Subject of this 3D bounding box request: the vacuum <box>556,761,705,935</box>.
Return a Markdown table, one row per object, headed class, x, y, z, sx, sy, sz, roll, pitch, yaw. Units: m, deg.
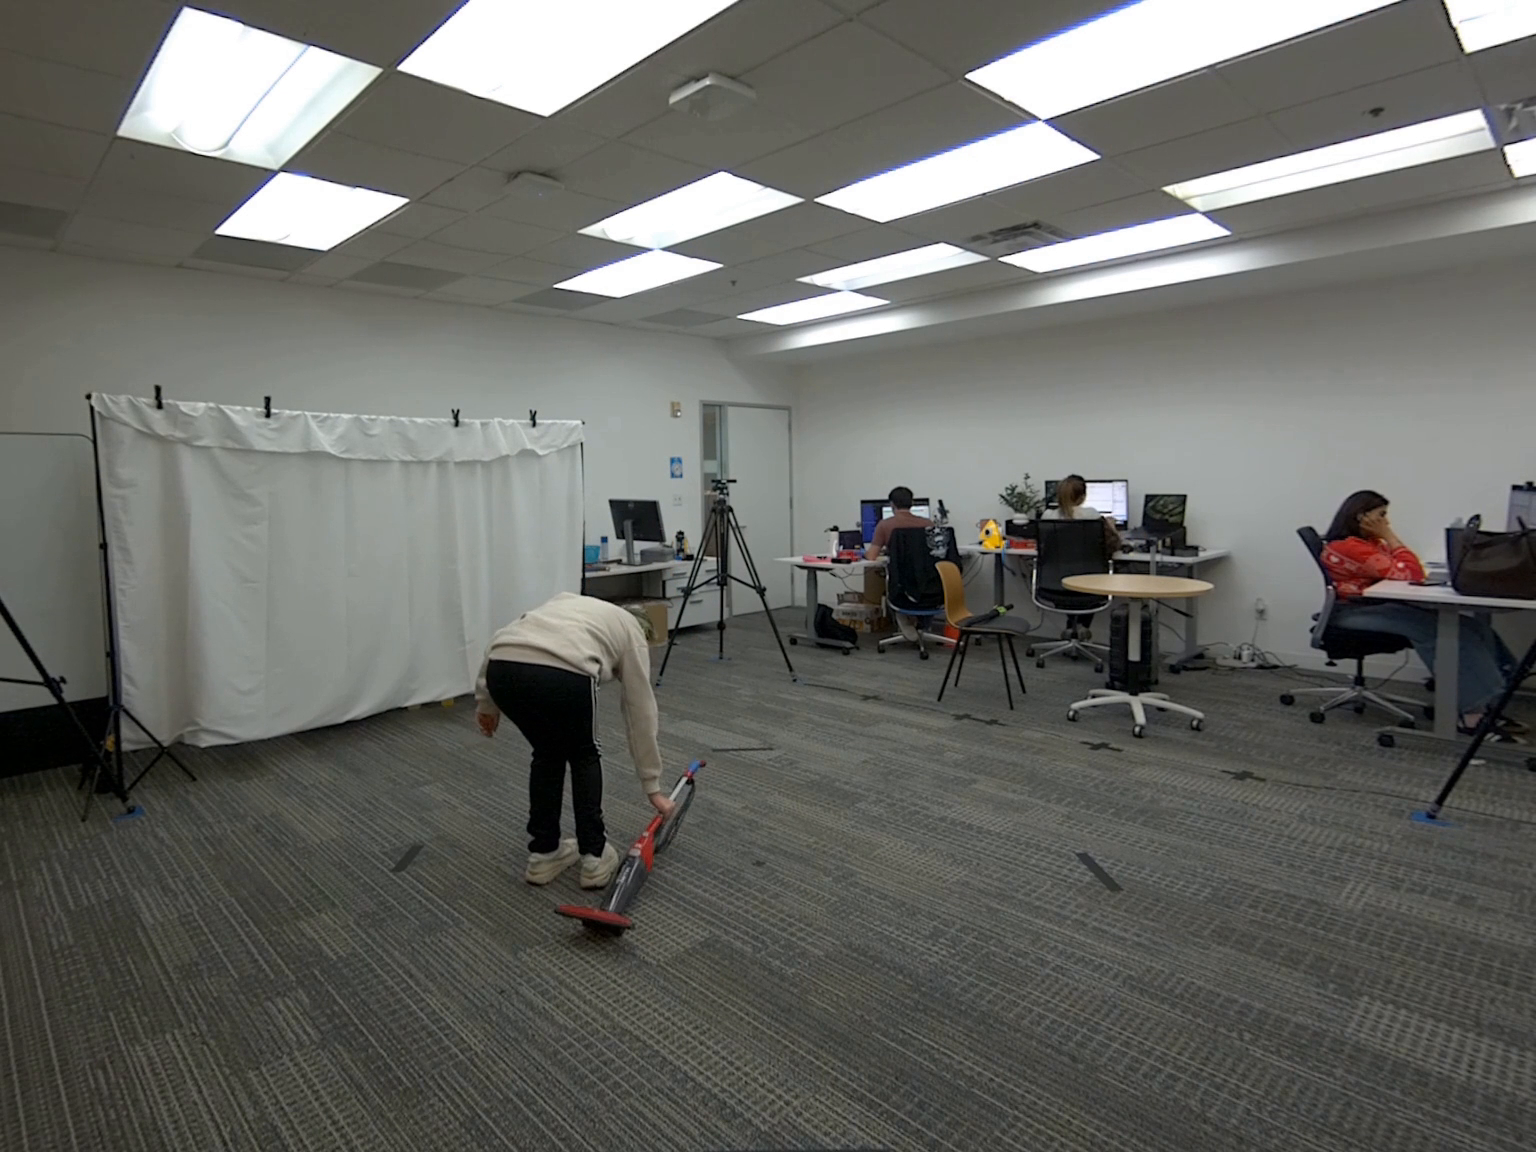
| class | x | y | z | sx | sy | sz | roll | pitch | yaw |
| --- | --- | --- | --- | --- | --- | --- | --- | --- | --- |
| vacuum | -0.393 | 0.924 | 3.110 | 0.256 | 0.142 | 1.047 | 4 | 16 | 13 |
